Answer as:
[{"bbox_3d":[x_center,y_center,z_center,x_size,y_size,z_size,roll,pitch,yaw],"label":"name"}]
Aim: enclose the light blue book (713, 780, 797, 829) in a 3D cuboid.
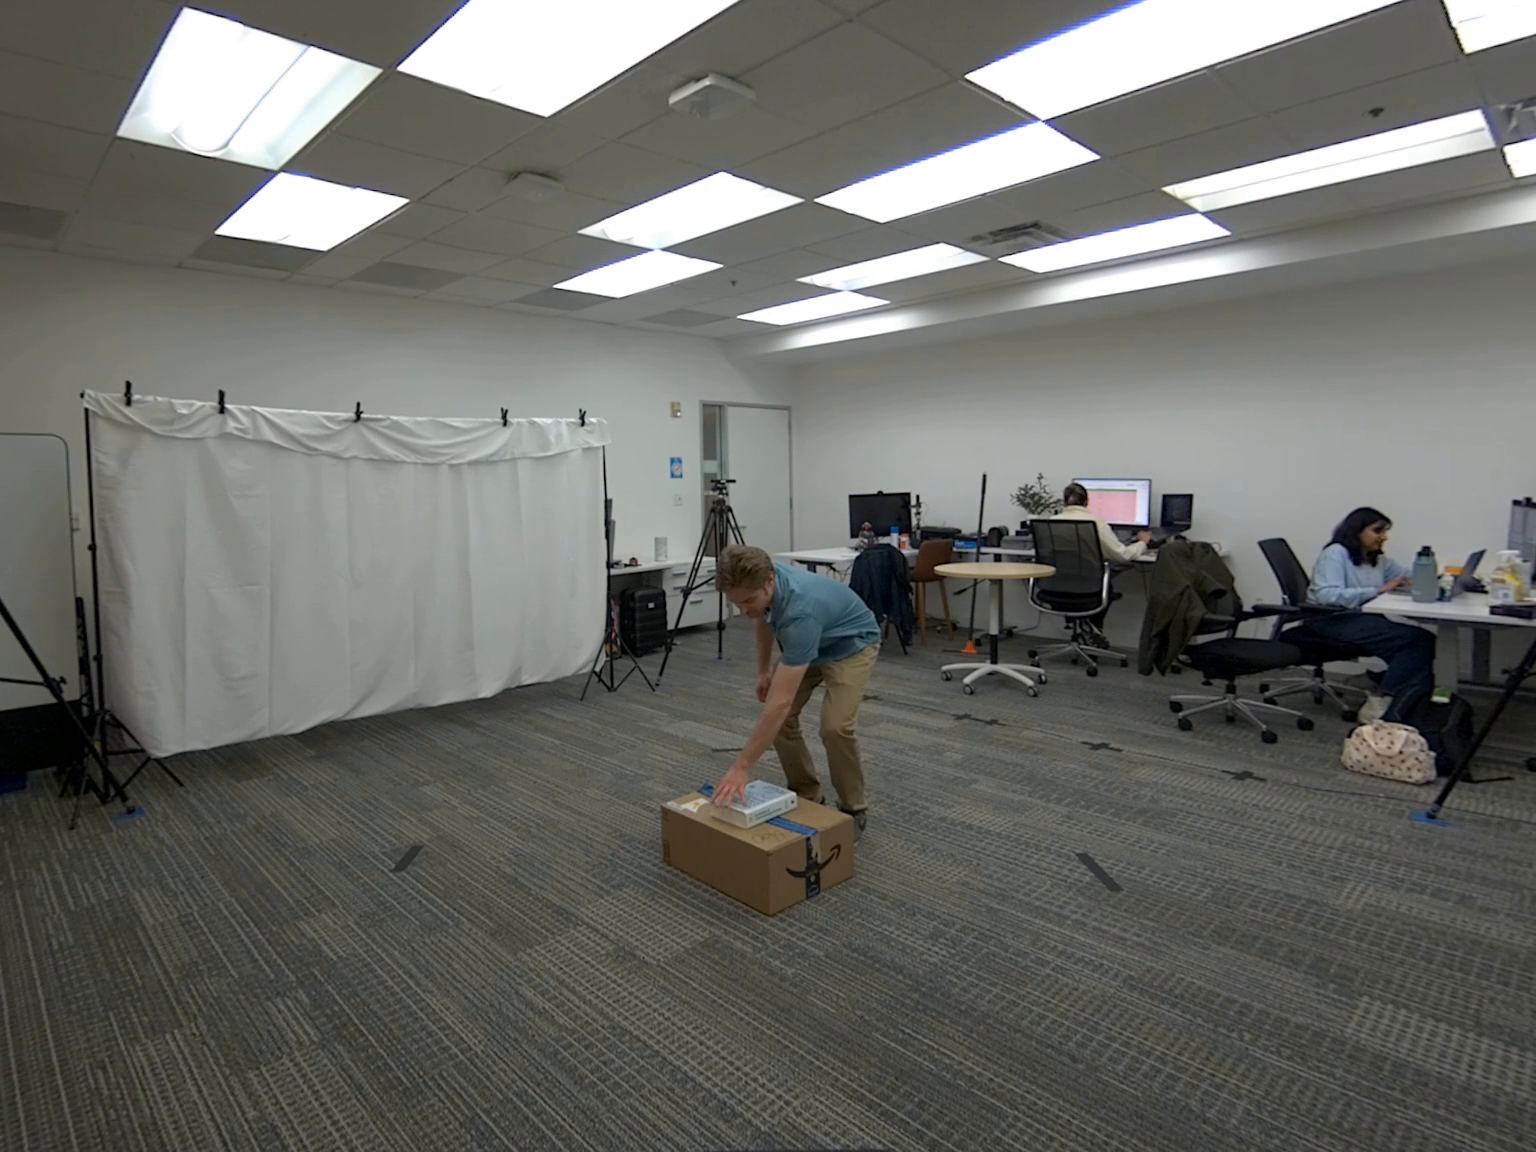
[{"bbox_3d":[-0.054,0.810,3.061,0.197,0.059,0.254,6,10,44],"label":"light blue book"}]
